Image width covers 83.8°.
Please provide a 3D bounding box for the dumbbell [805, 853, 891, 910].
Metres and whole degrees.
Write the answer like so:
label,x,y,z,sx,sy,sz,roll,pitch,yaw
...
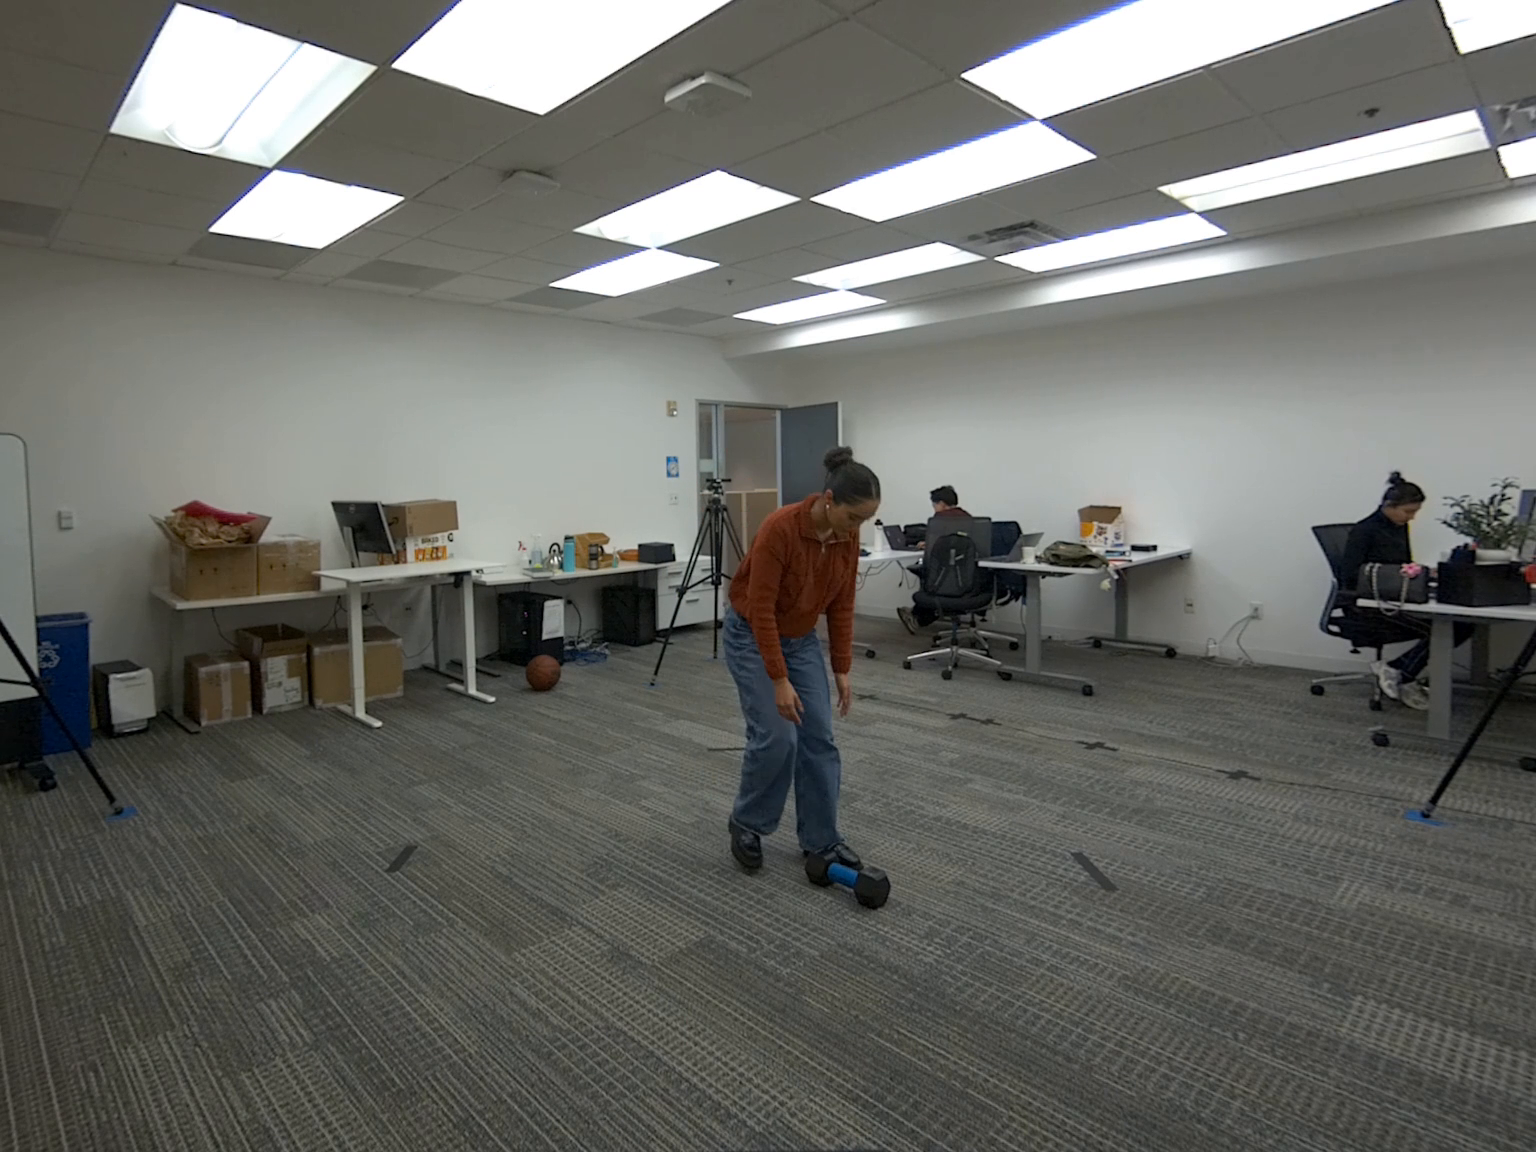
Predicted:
label,x,y,z,sx,sy,sz,roll,pitch,yaw
dumbbell,0.269,1.016,2.870,0.120,0.108,0.302,-5,6,-44
